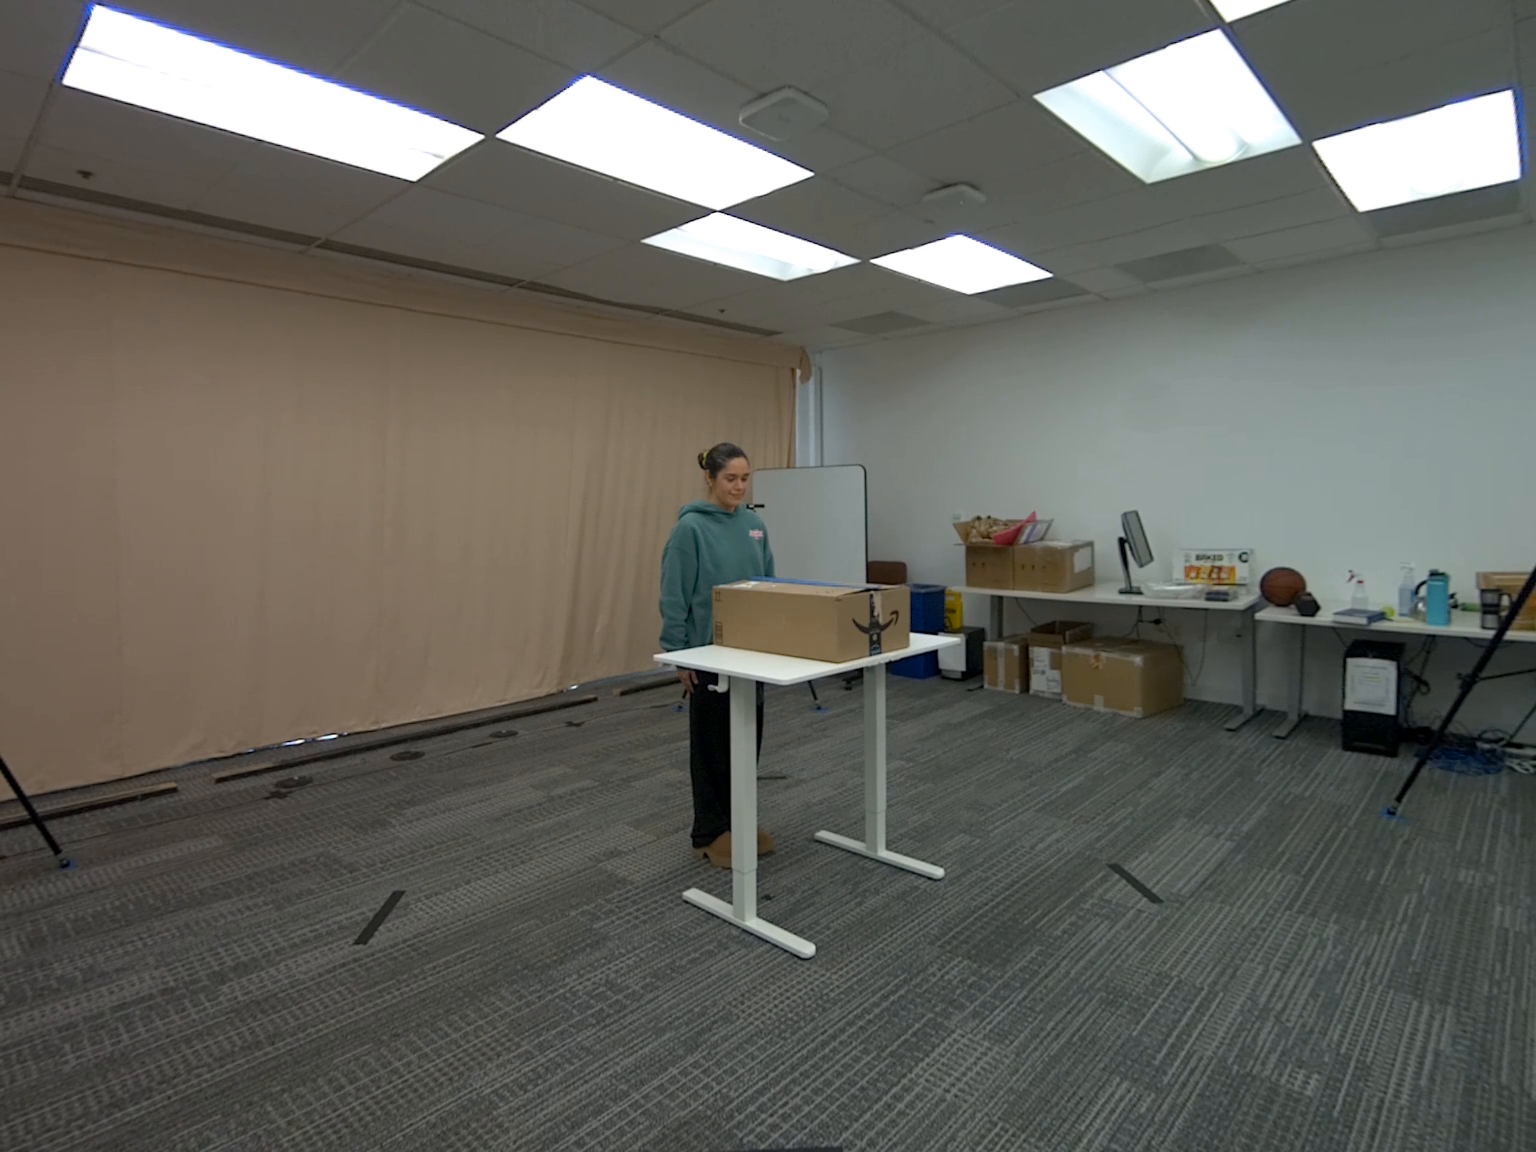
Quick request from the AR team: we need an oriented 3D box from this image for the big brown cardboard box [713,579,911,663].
[{"bbox_3d":[0.151,0.143,3.010,0.609,0.232,0.405,5,7,43],"label":"big brown cardboard box"}]
